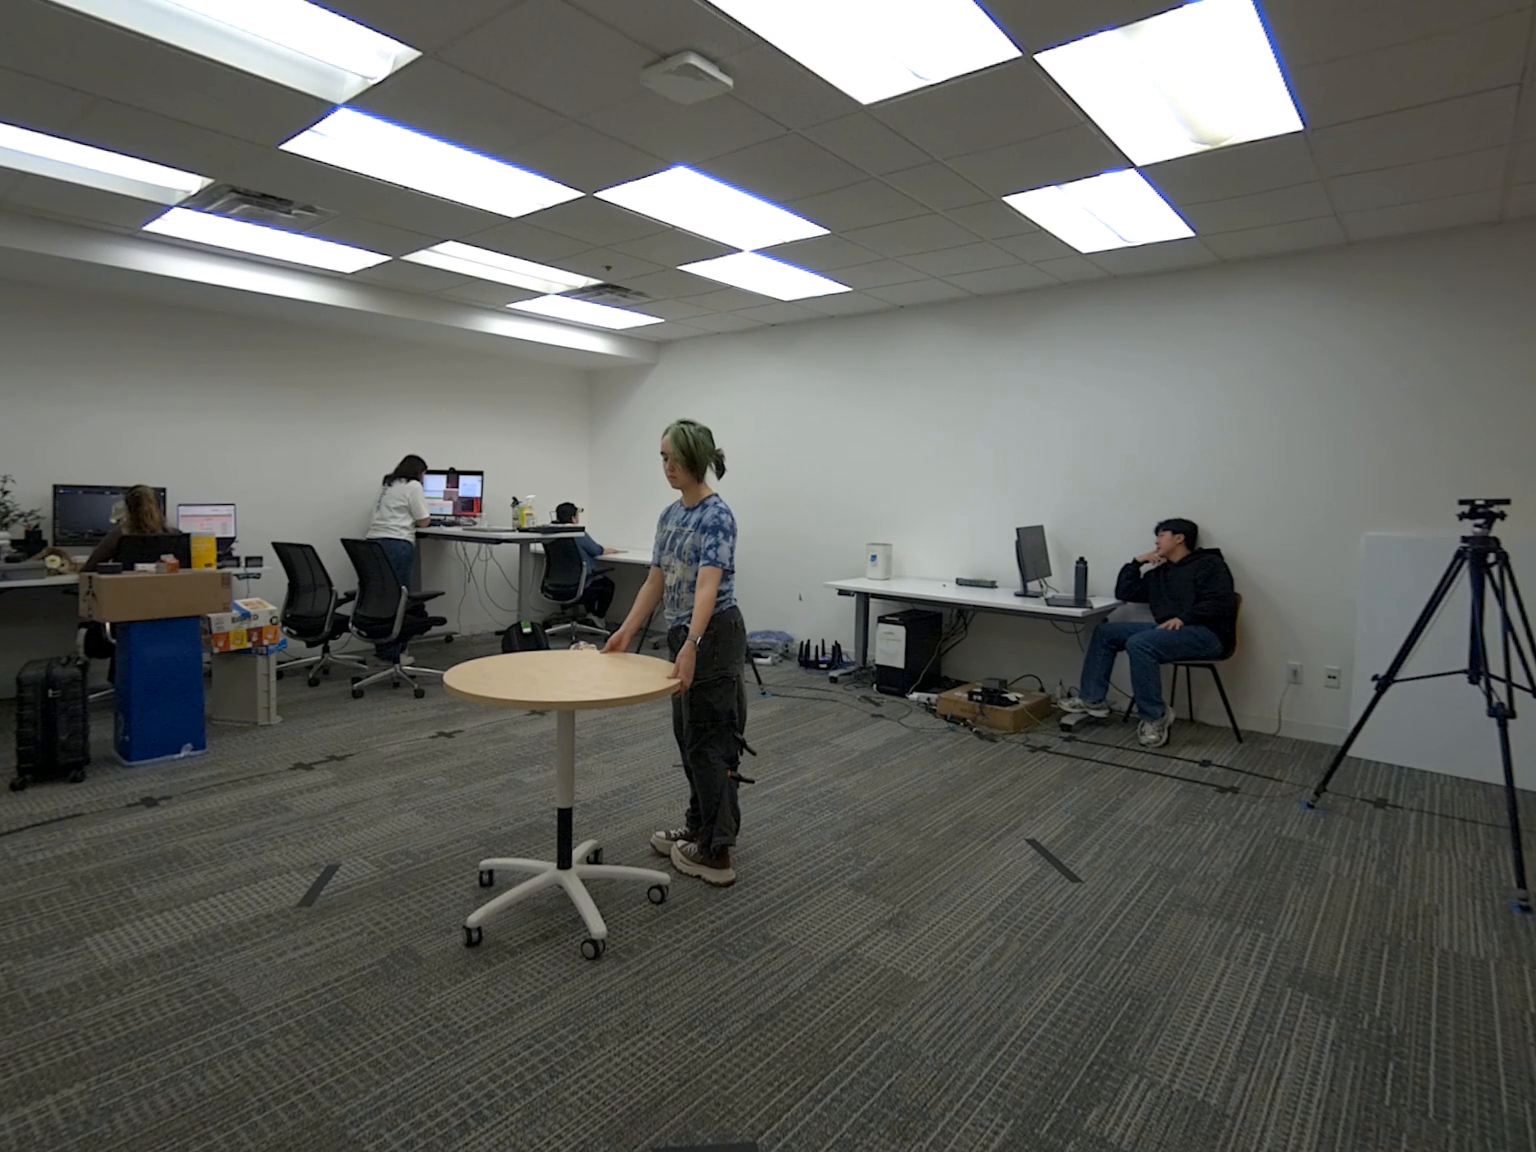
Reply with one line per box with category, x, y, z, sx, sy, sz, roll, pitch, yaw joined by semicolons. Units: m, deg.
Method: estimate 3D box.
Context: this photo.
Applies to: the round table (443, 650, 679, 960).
round table;-0.678;0.705;2.781;0.763;0.791;0.768;1;5;-2
